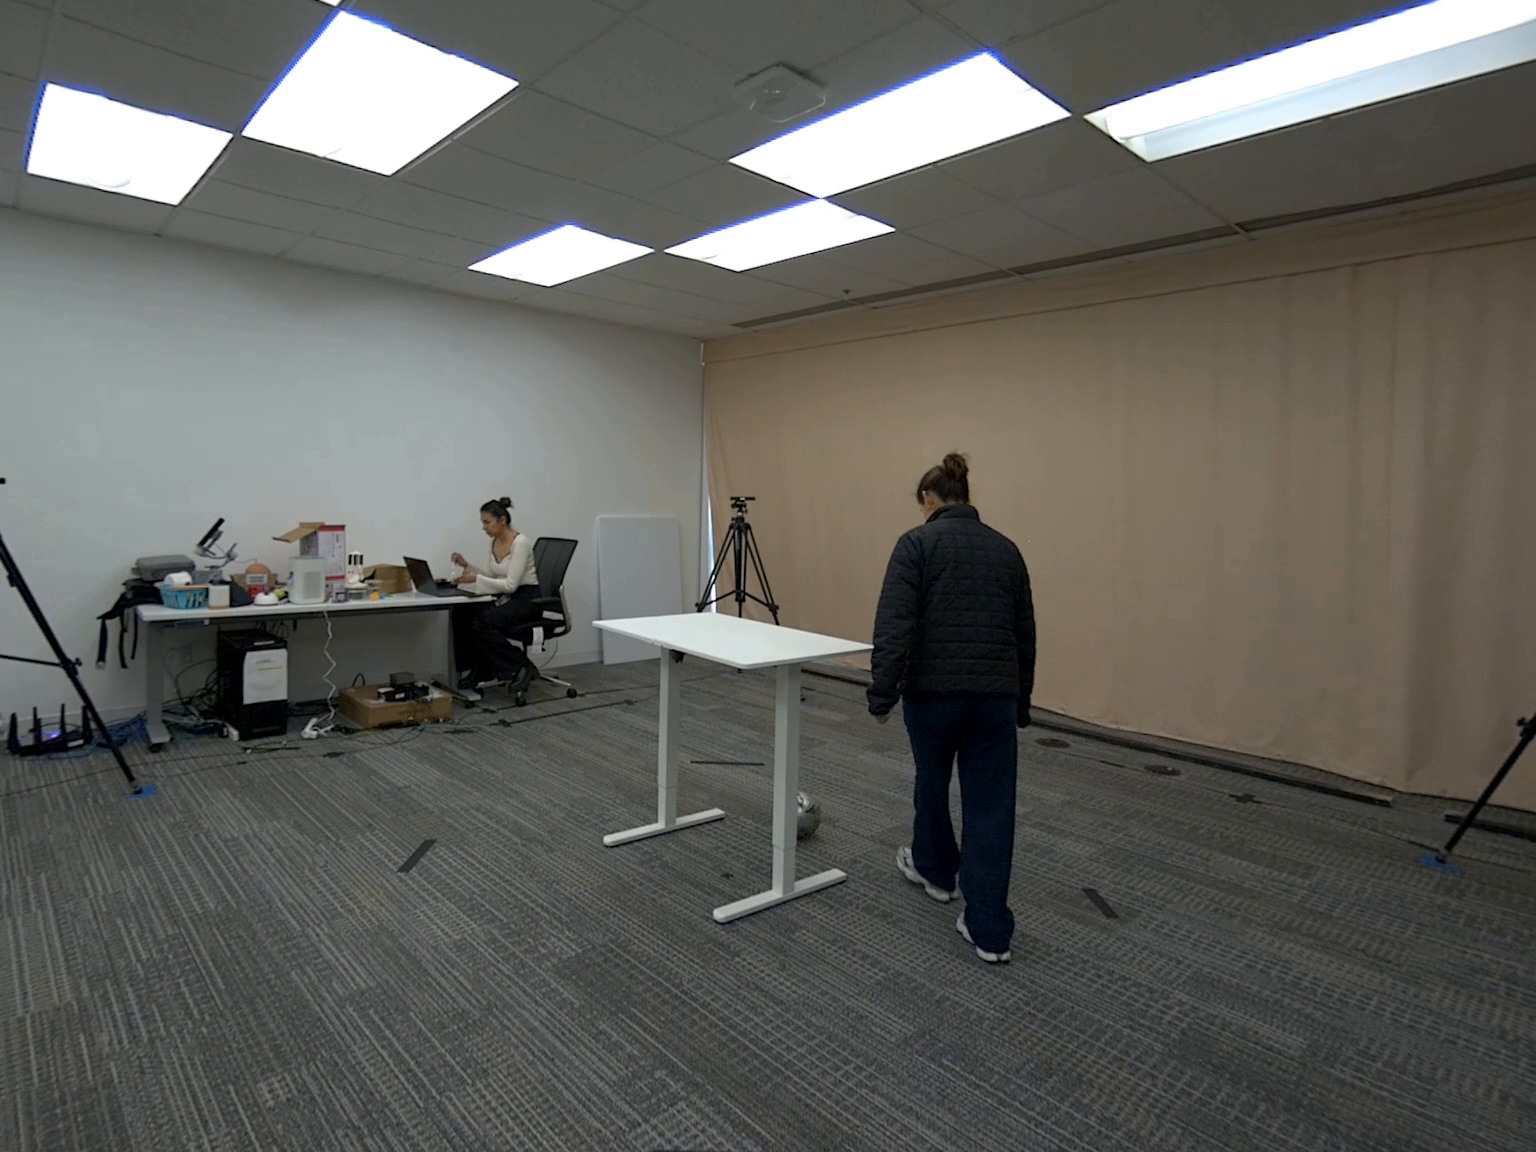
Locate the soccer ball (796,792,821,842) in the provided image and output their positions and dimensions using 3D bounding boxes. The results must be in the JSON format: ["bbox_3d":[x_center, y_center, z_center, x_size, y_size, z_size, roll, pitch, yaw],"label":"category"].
[{"bbox_3d":[0.122,0.985,3.483,0.187,0.187,0.188,1,4,-1],"label":"soccer ball"}]
